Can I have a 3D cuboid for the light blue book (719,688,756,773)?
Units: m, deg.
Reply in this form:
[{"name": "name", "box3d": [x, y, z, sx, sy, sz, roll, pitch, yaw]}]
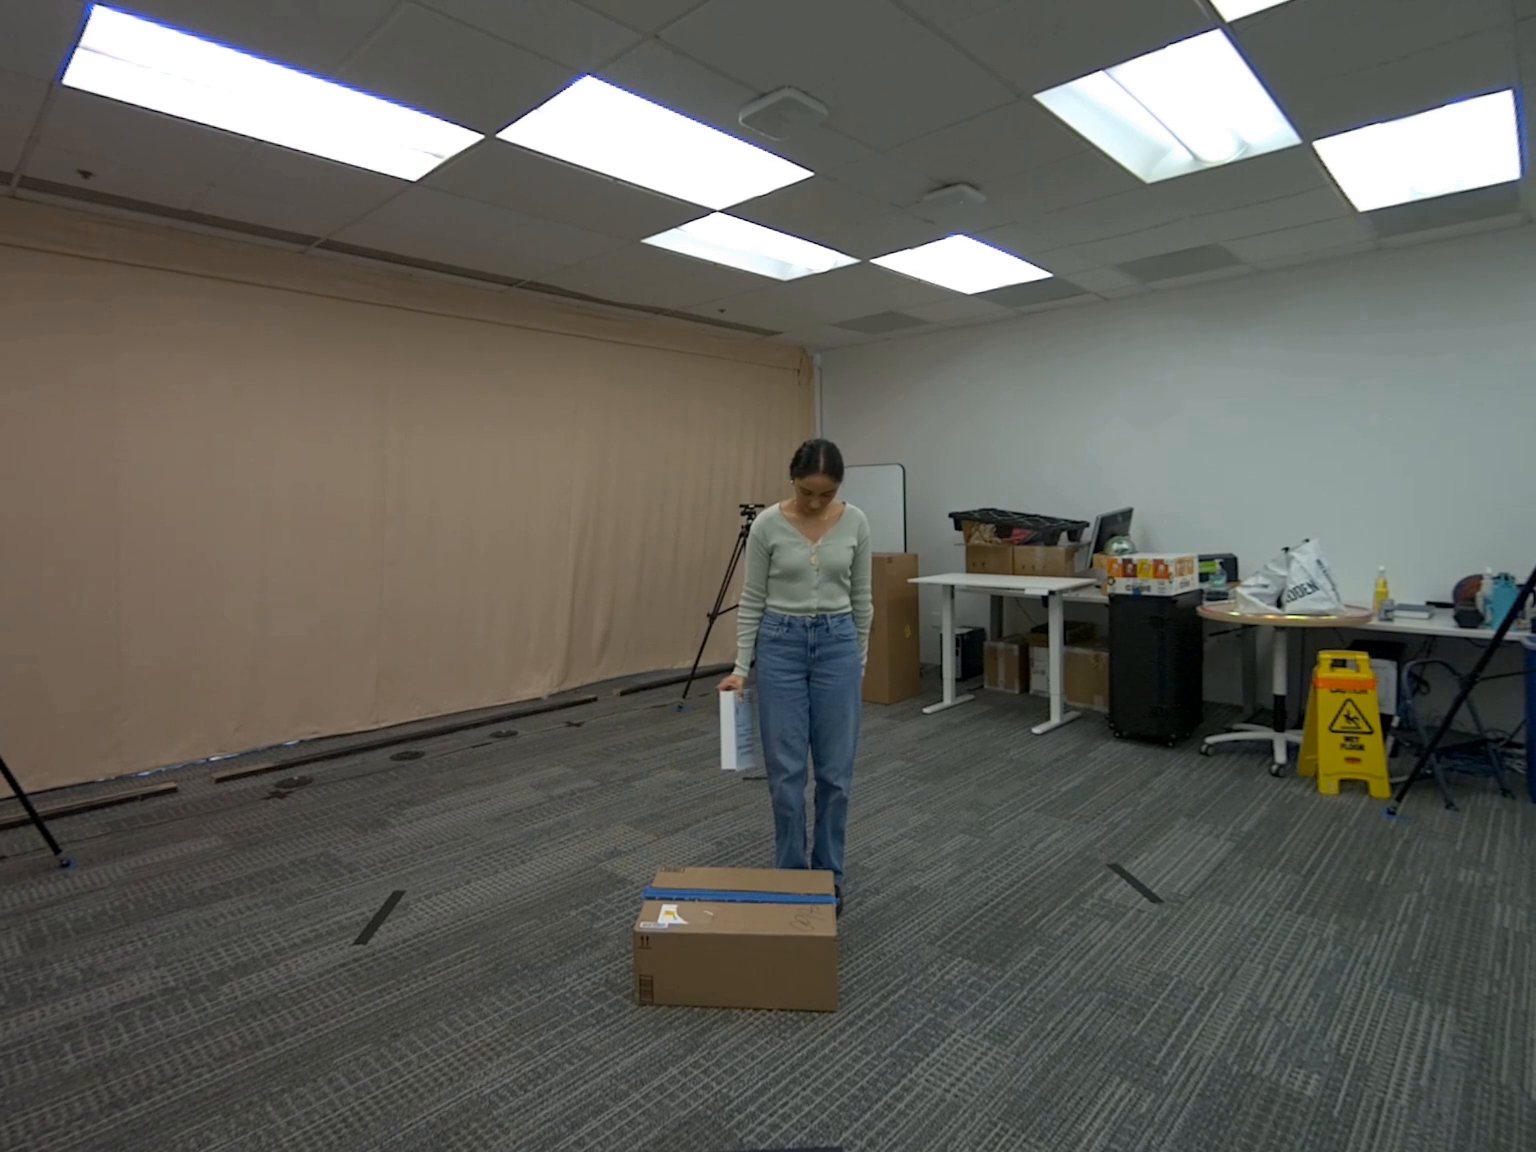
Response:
[{"name": "light blue book", "box3d": [-0.093, 0.531, 2.894, 0.060, 0.262, 0.186, -5, -9, 22]}]
